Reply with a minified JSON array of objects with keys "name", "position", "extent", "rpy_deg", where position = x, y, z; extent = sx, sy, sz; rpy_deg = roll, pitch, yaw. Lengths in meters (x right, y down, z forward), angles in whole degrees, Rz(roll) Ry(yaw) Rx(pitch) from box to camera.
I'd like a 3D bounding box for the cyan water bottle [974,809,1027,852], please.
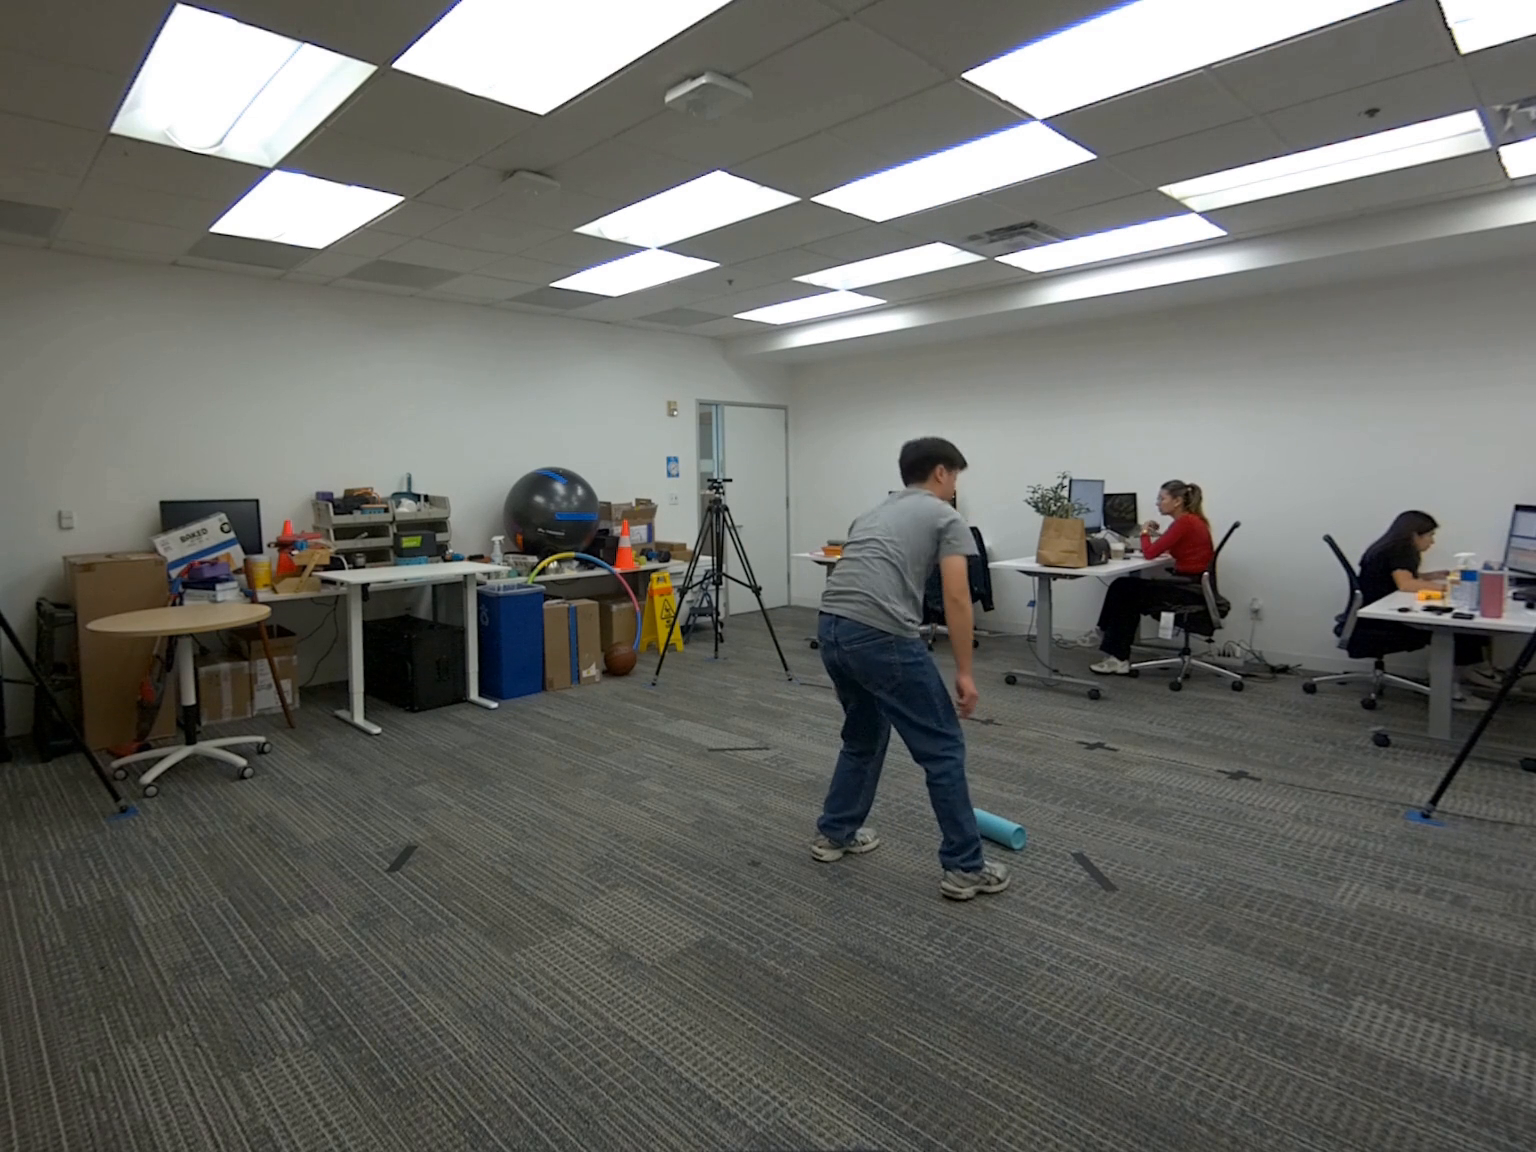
[{"name":"cyan water bottle","position":[0.861,0.962,3.298],"extent":[0.090,0.092,0.291],"rpy_deg":[-4,6,-33]}]
